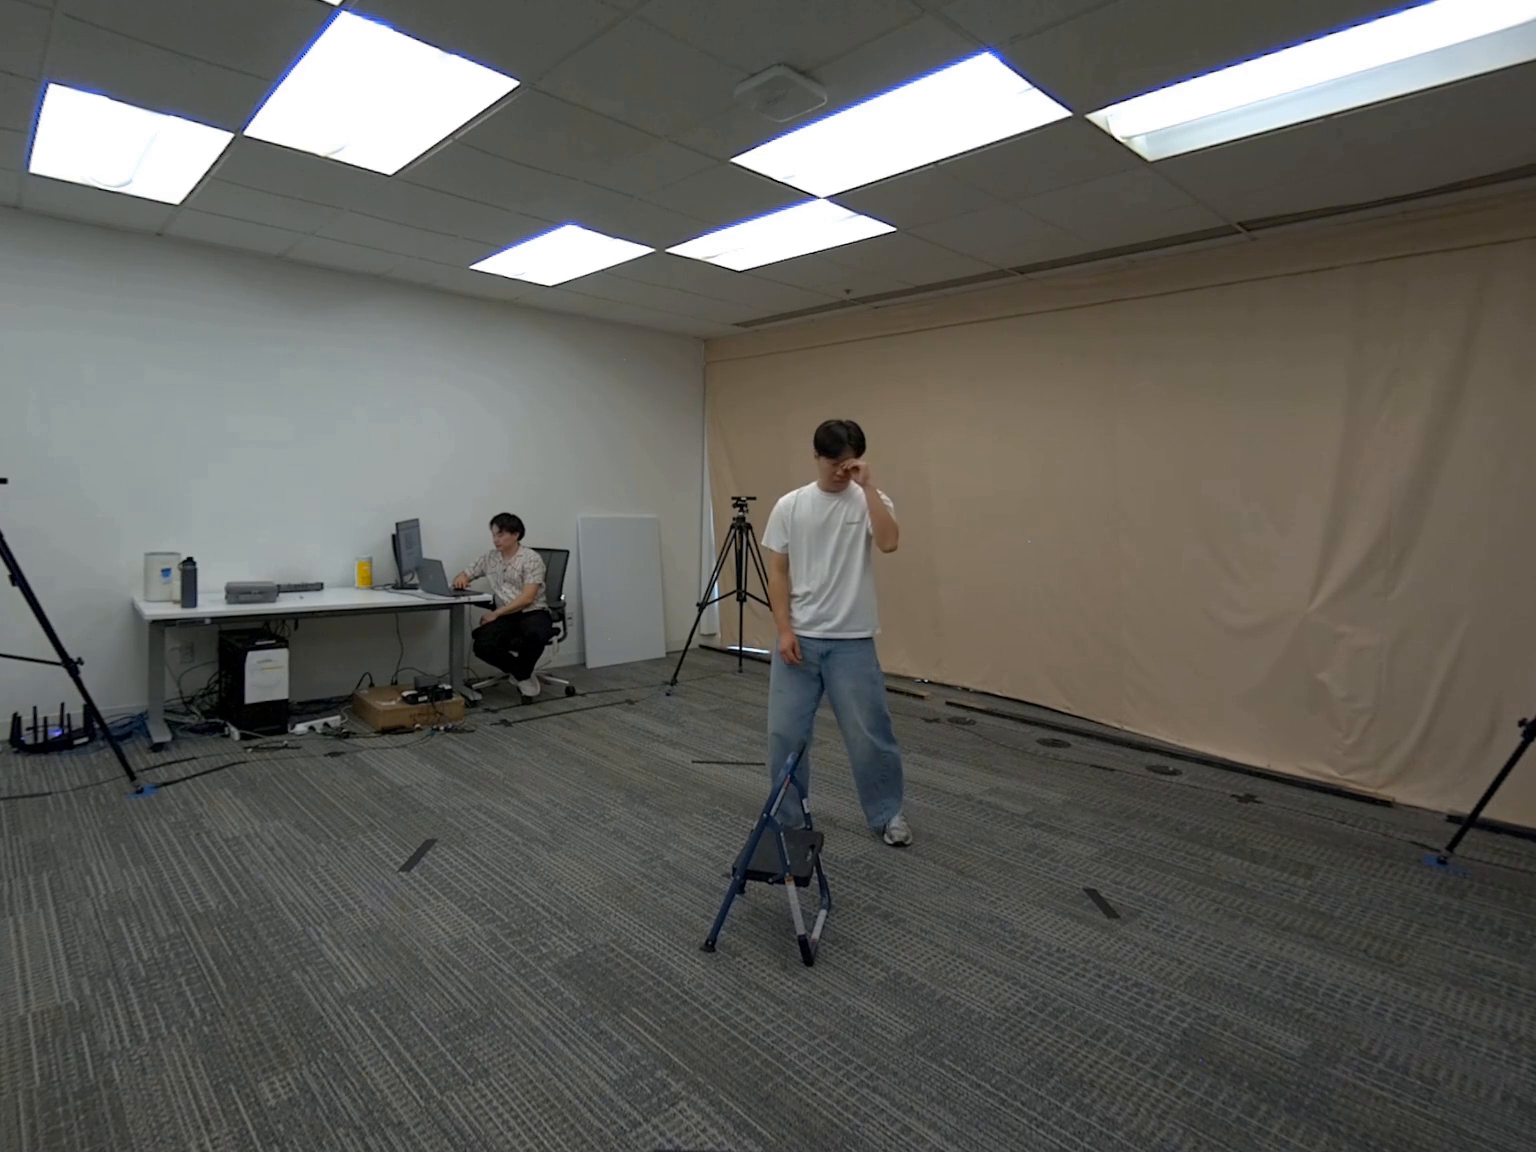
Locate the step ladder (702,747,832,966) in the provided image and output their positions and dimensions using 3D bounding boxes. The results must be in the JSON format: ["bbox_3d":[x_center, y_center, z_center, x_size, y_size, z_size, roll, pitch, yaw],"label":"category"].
[{"bbox_3d":[0.011,0.843,2.723,0.353,0.604,0.427,2,4,12],"label":"step ladder"}]
